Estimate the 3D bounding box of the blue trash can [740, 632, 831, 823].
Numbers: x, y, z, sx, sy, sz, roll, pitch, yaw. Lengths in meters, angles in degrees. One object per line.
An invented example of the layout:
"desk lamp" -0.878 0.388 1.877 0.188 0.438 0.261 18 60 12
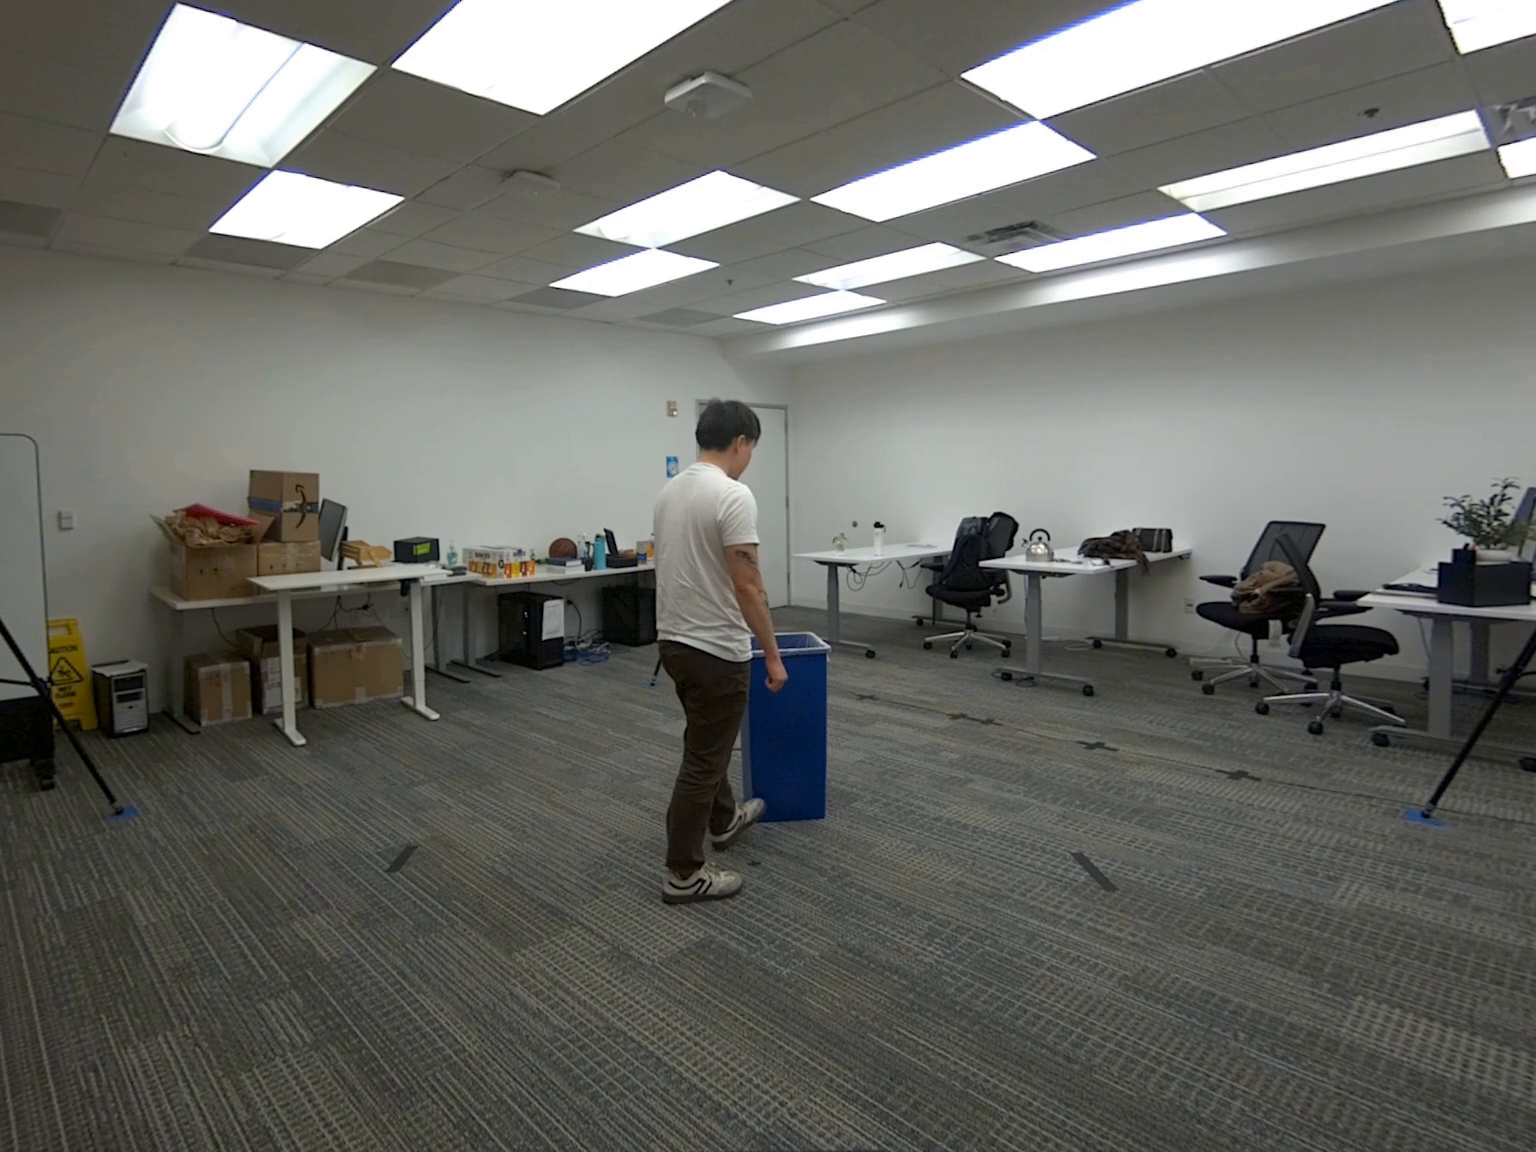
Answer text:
"blue trash can" 0.057 0.628 3.621 0.375 0.711 0.378 -2 4 -8
